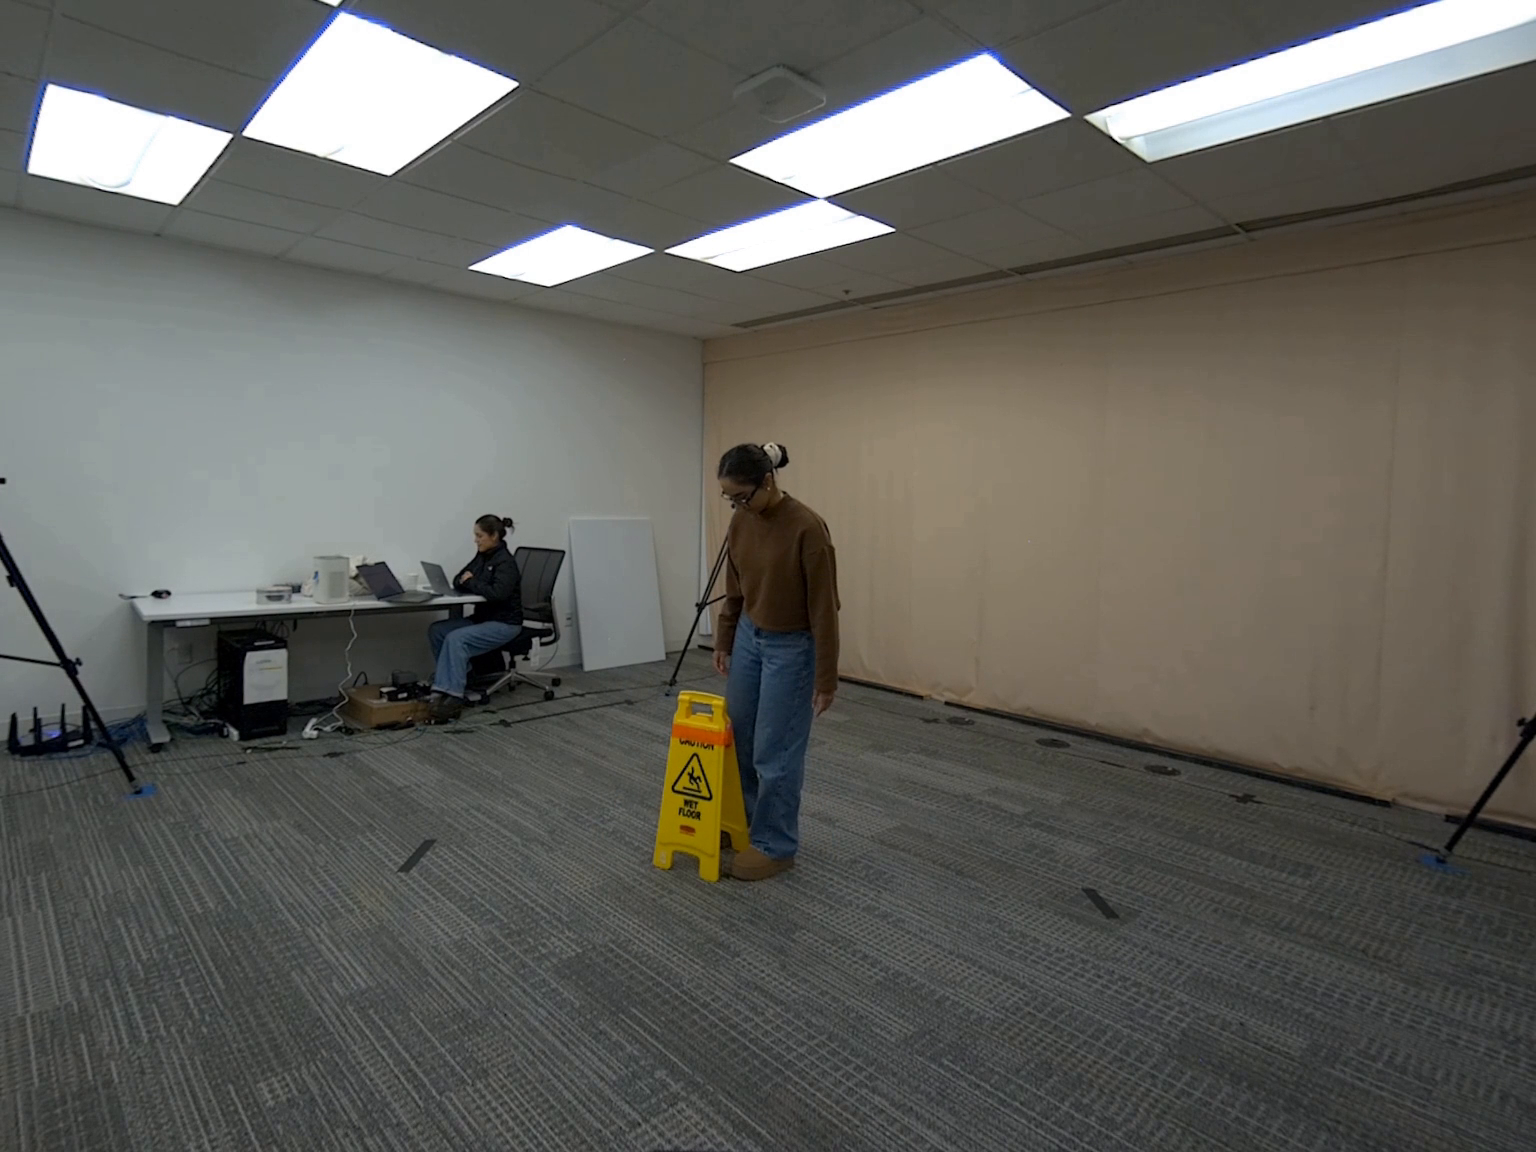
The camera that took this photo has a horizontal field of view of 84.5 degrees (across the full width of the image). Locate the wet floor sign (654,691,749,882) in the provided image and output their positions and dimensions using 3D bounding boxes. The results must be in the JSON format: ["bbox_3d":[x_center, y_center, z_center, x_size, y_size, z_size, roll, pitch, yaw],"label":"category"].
[{"bbox_3d":[-0.256,0.764,3.202,0.288,0.643,0.285,3,6,25],"label":"wet floor sign"}]
